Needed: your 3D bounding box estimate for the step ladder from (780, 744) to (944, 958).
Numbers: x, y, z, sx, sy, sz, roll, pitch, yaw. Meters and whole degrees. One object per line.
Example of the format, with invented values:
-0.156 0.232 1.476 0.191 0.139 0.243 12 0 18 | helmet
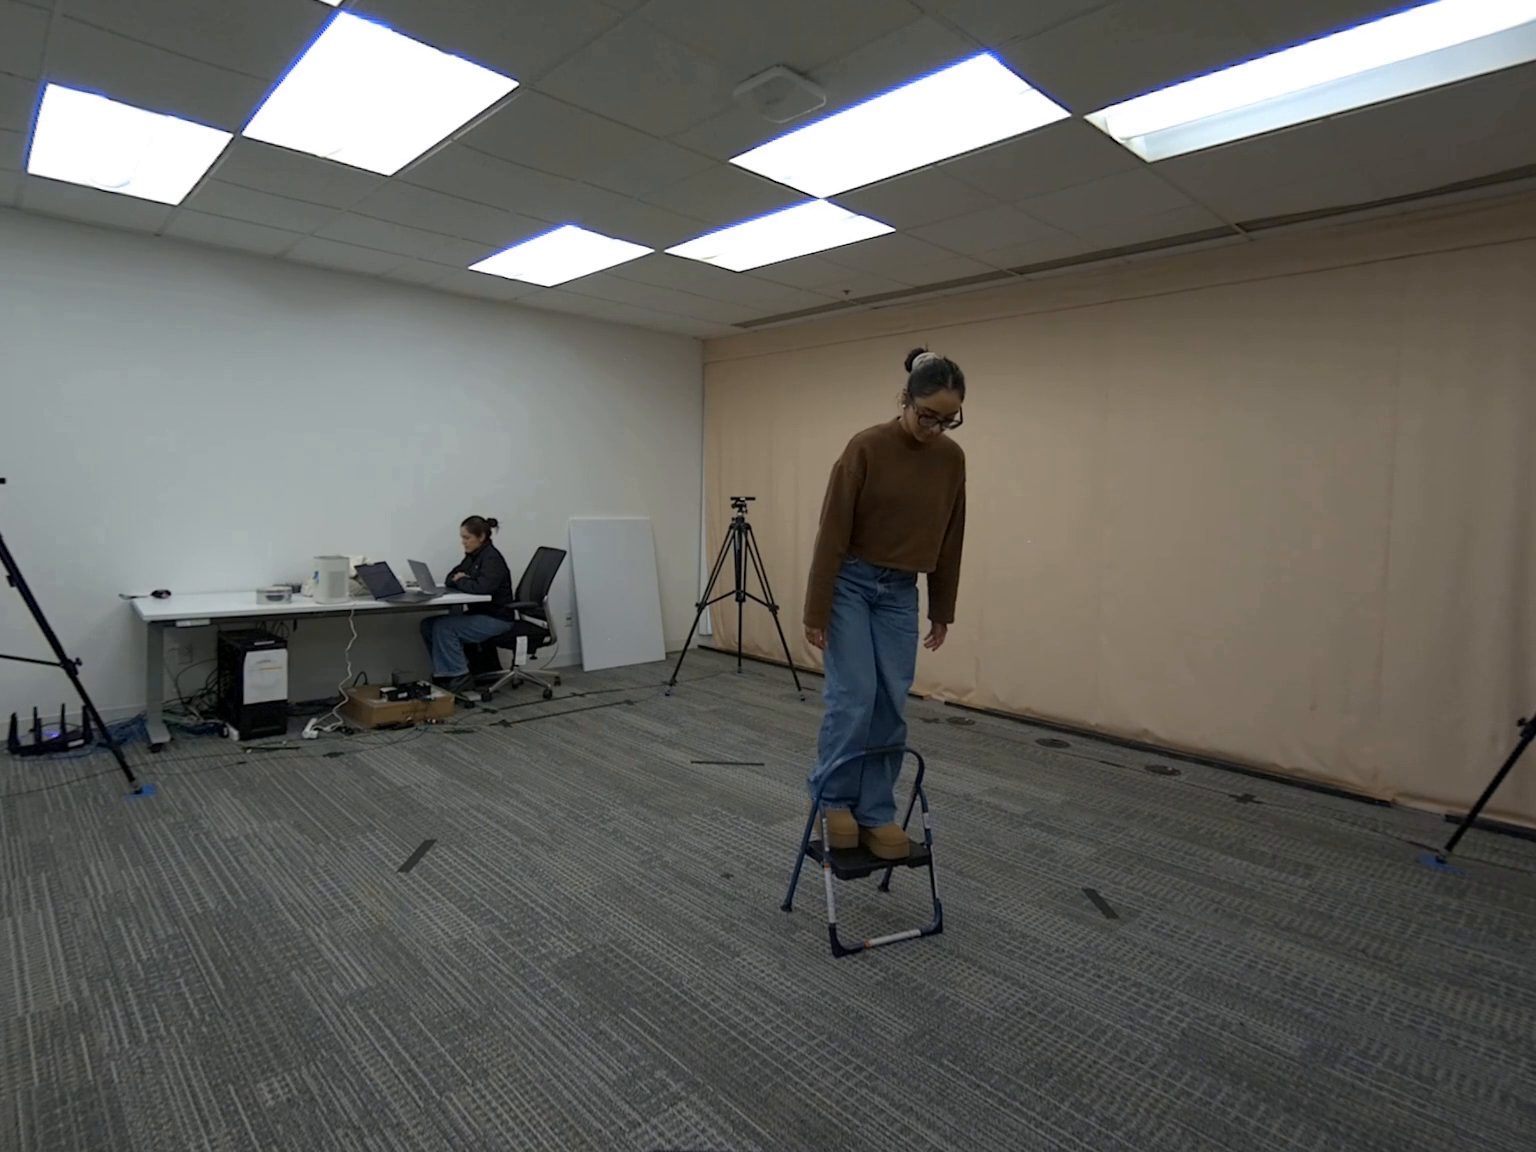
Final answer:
0.314 0.846 2.779 0.422 0.604 0.357 0 4 -27 | step ladder
